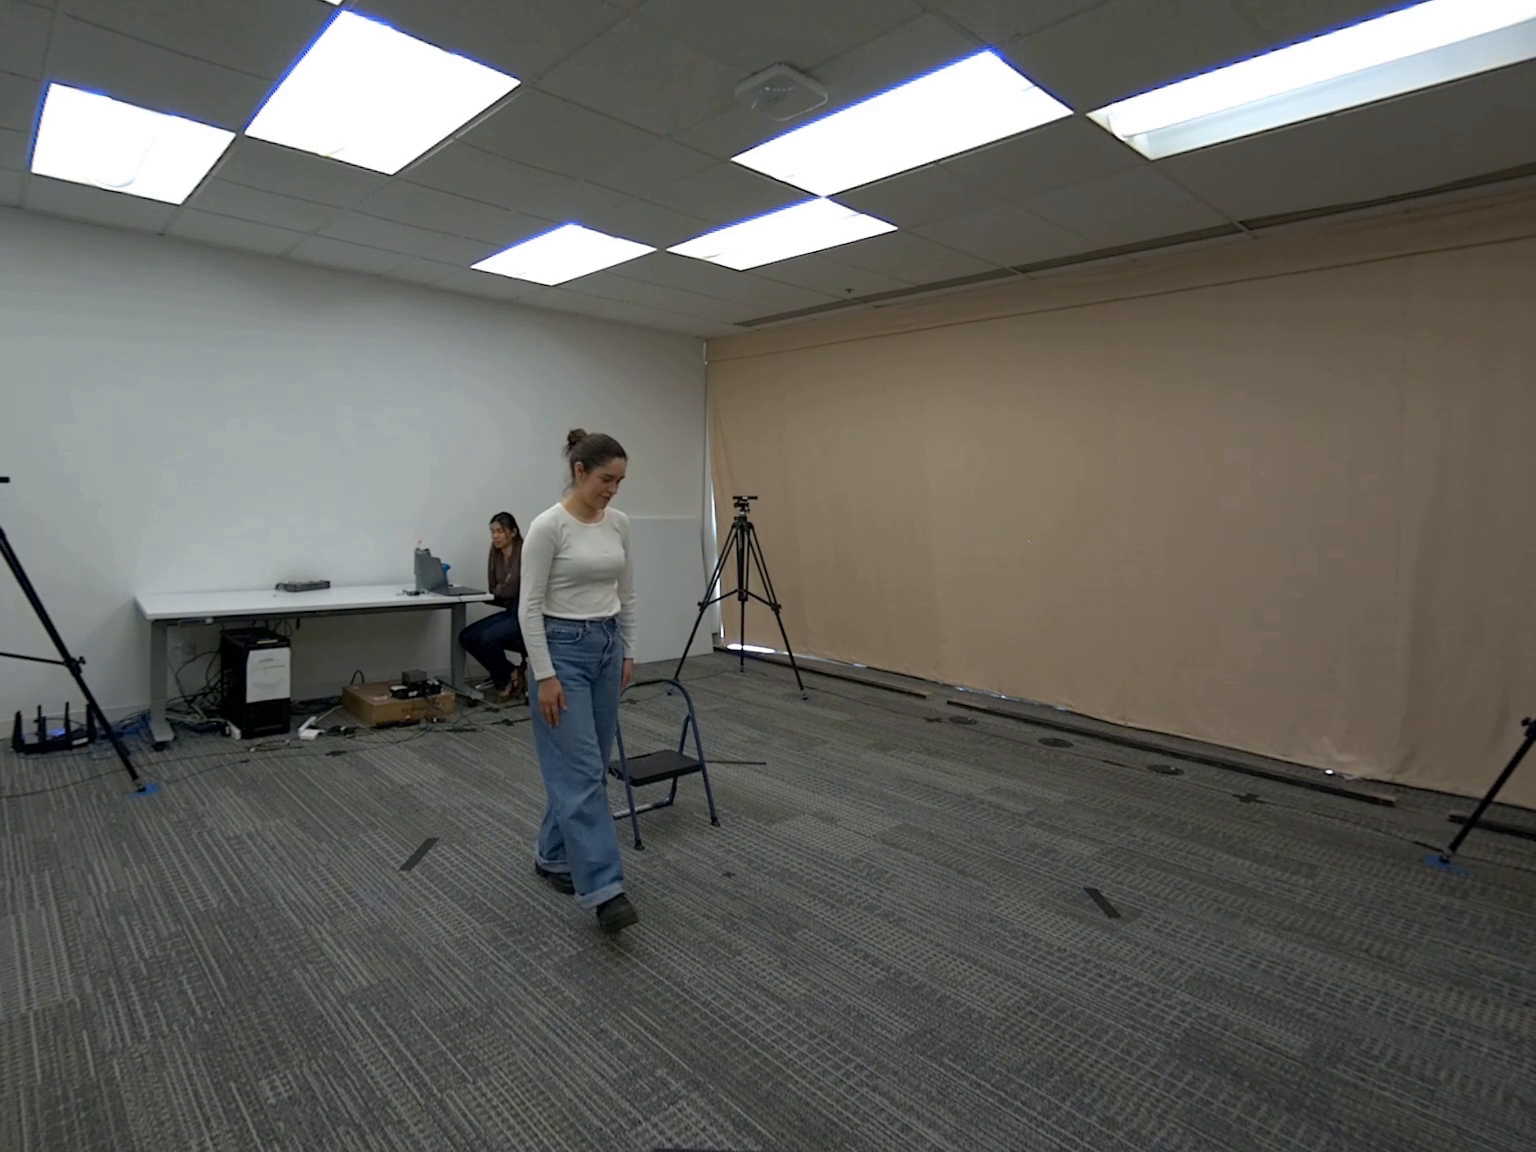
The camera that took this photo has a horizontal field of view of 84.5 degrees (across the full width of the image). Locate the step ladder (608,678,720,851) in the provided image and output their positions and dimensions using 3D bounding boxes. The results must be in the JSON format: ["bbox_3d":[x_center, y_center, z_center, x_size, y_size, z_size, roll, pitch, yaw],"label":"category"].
[{"bbox_3d":[-0.469,0.753,3.552,0.421,0.605,0.358,-2,4,-44],"label":"step ladder"}]
